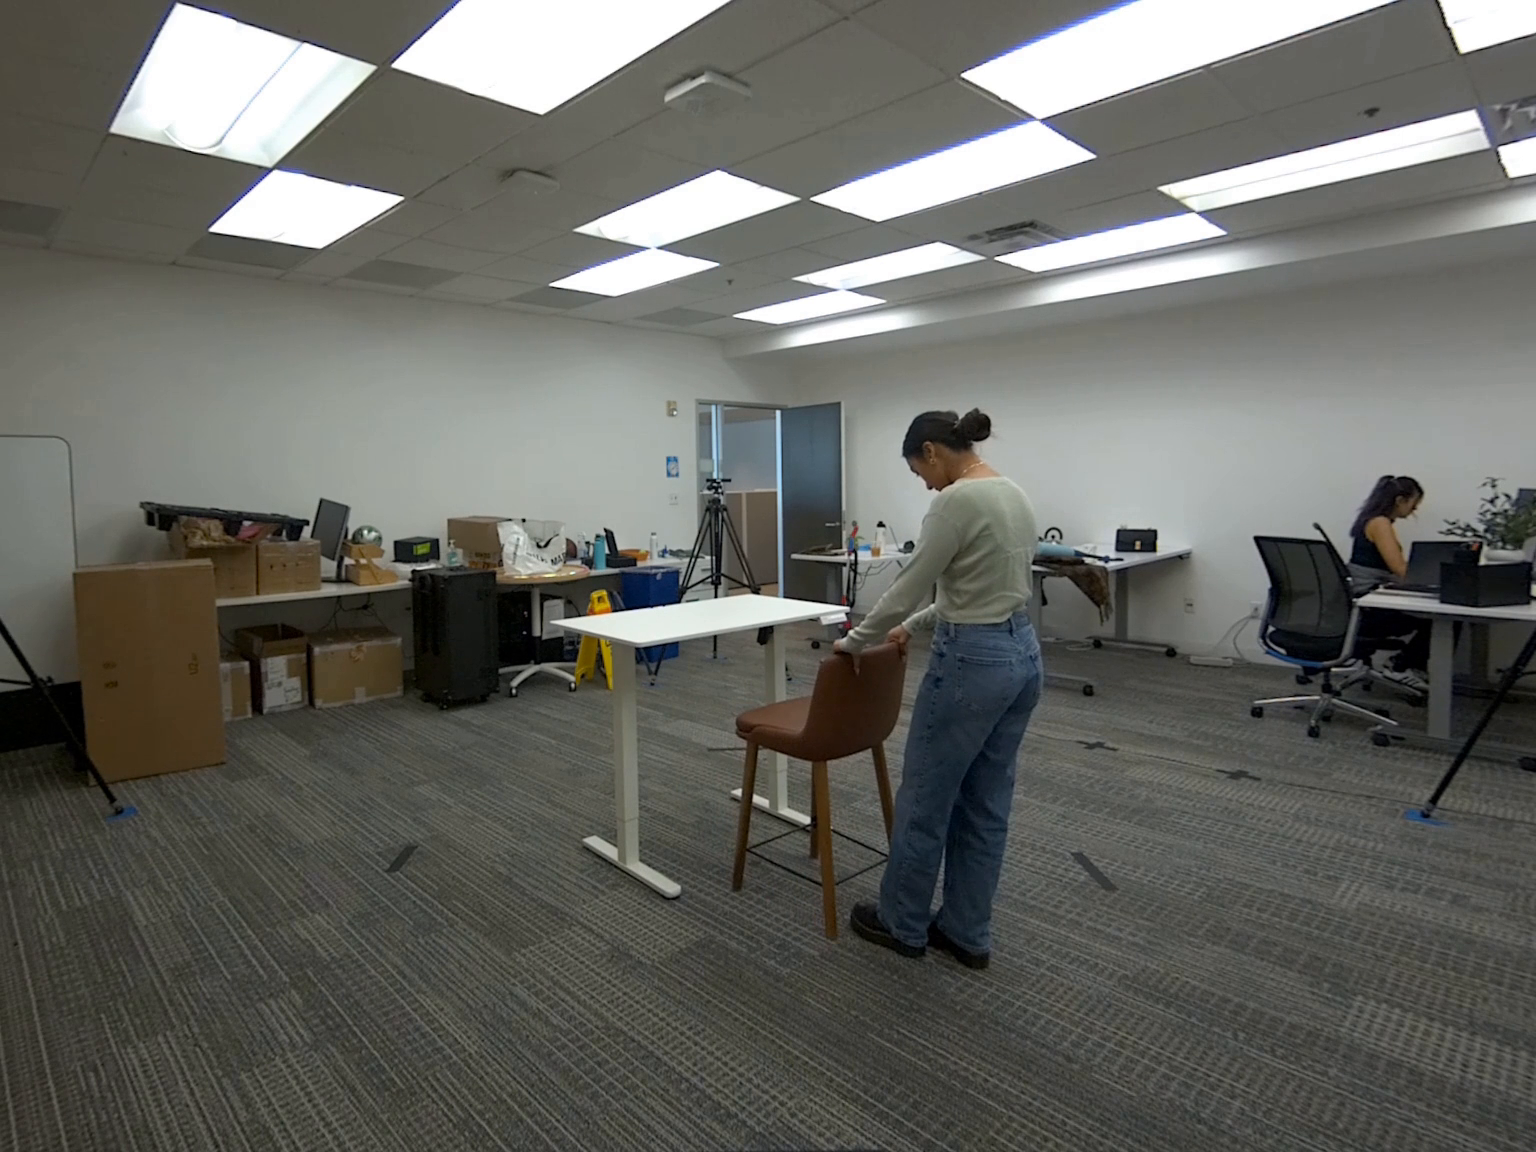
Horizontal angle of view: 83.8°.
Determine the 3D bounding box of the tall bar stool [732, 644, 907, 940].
[{"bbox_3d":[0.179,0.630,2.830,0.444,0.885,0.482,-5,8,-41],"label":"tall bar stool"}]
